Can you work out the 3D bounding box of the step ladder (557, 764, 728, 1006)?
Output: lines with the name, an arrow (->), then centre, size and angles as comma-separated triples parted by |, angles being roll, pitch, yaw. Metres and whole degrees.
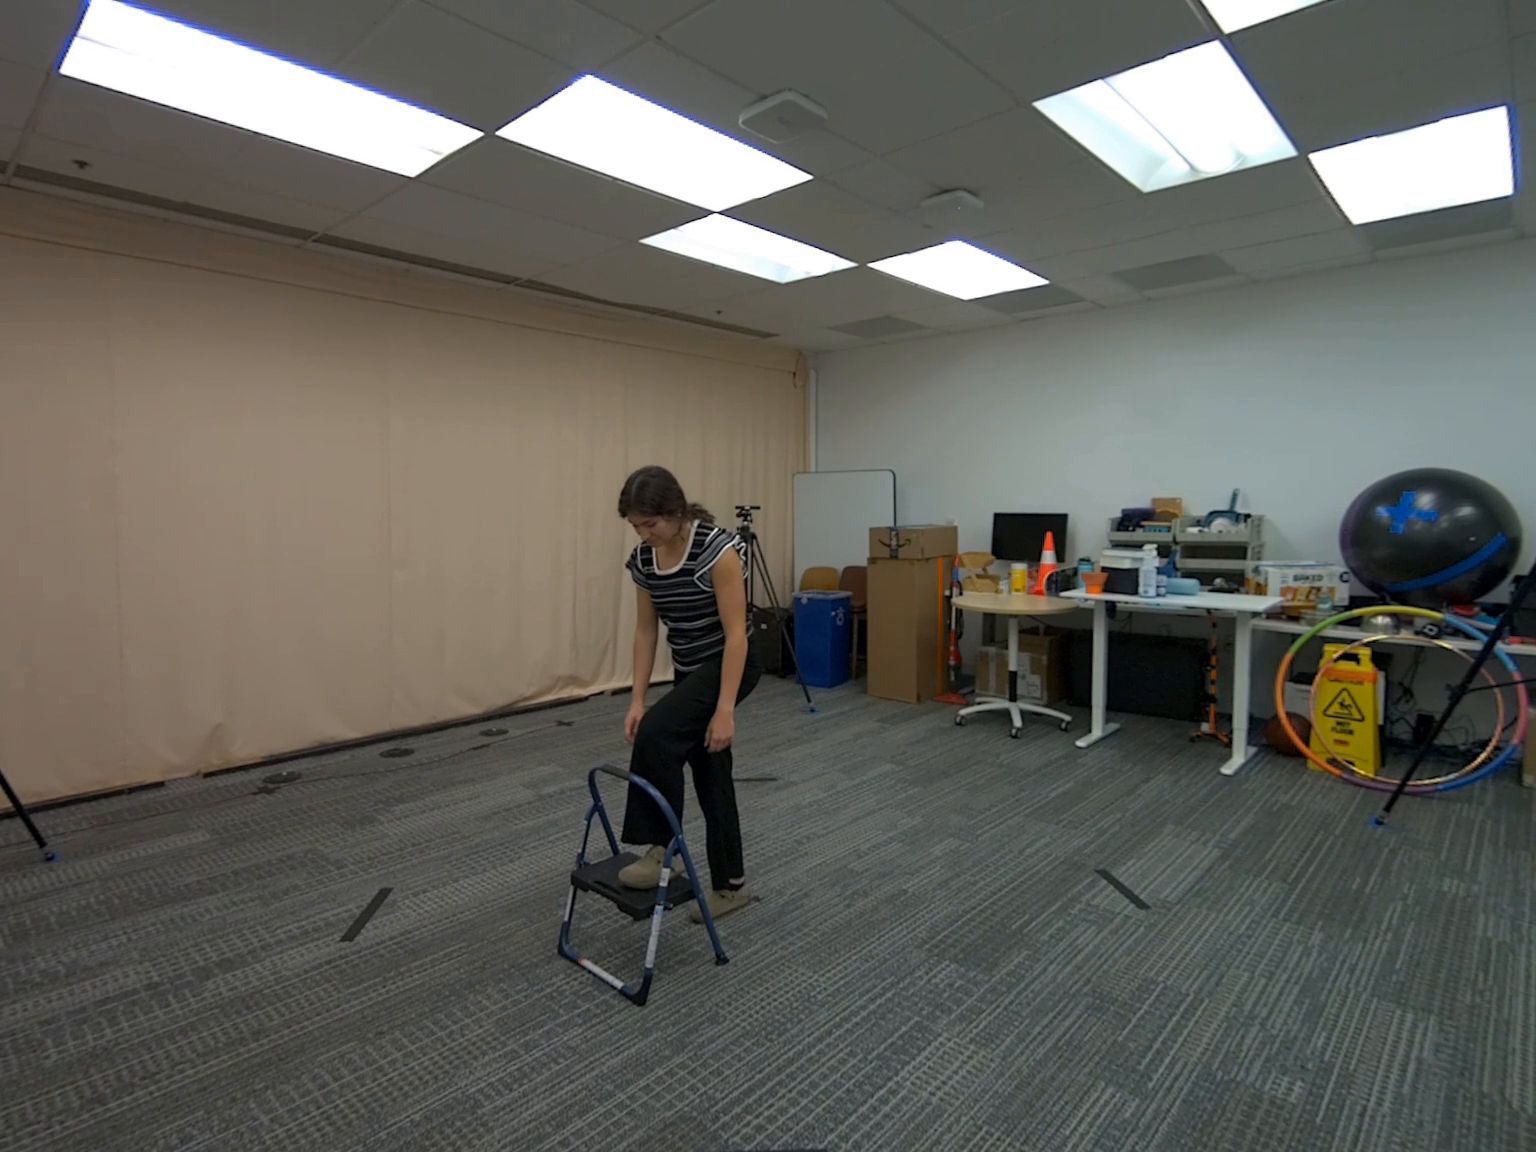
step ladder -> -0.394, 0.879, 2.585 | 0.445, 0.605, 0.338 | 3, 4, 43
